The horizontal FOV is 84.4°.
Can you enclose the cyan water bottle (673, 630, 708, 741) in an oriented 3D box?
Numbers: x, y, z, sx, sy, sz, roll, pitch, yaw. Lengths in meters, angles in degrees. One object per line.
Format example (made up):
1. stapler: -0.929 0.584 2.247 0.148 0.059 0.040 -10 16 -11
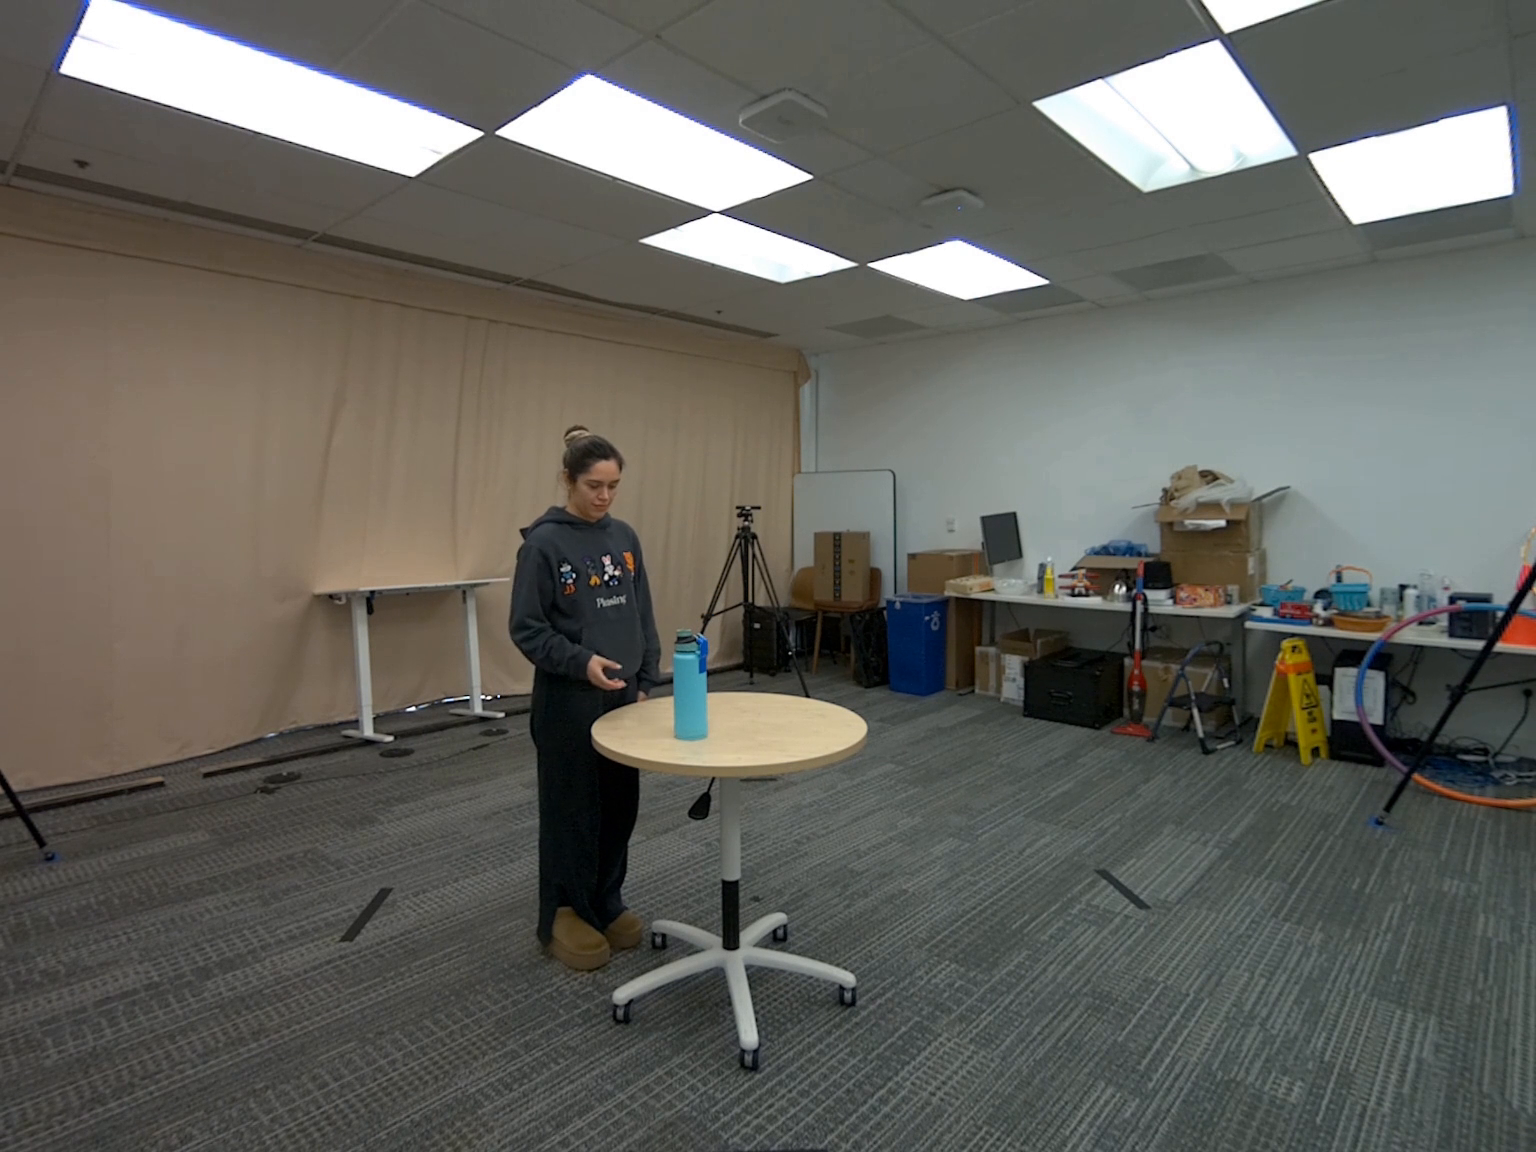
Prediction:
1. cyan water bottle: -0.195 0.288 2.228 0.092 0.283 0.092 0 2 -2
